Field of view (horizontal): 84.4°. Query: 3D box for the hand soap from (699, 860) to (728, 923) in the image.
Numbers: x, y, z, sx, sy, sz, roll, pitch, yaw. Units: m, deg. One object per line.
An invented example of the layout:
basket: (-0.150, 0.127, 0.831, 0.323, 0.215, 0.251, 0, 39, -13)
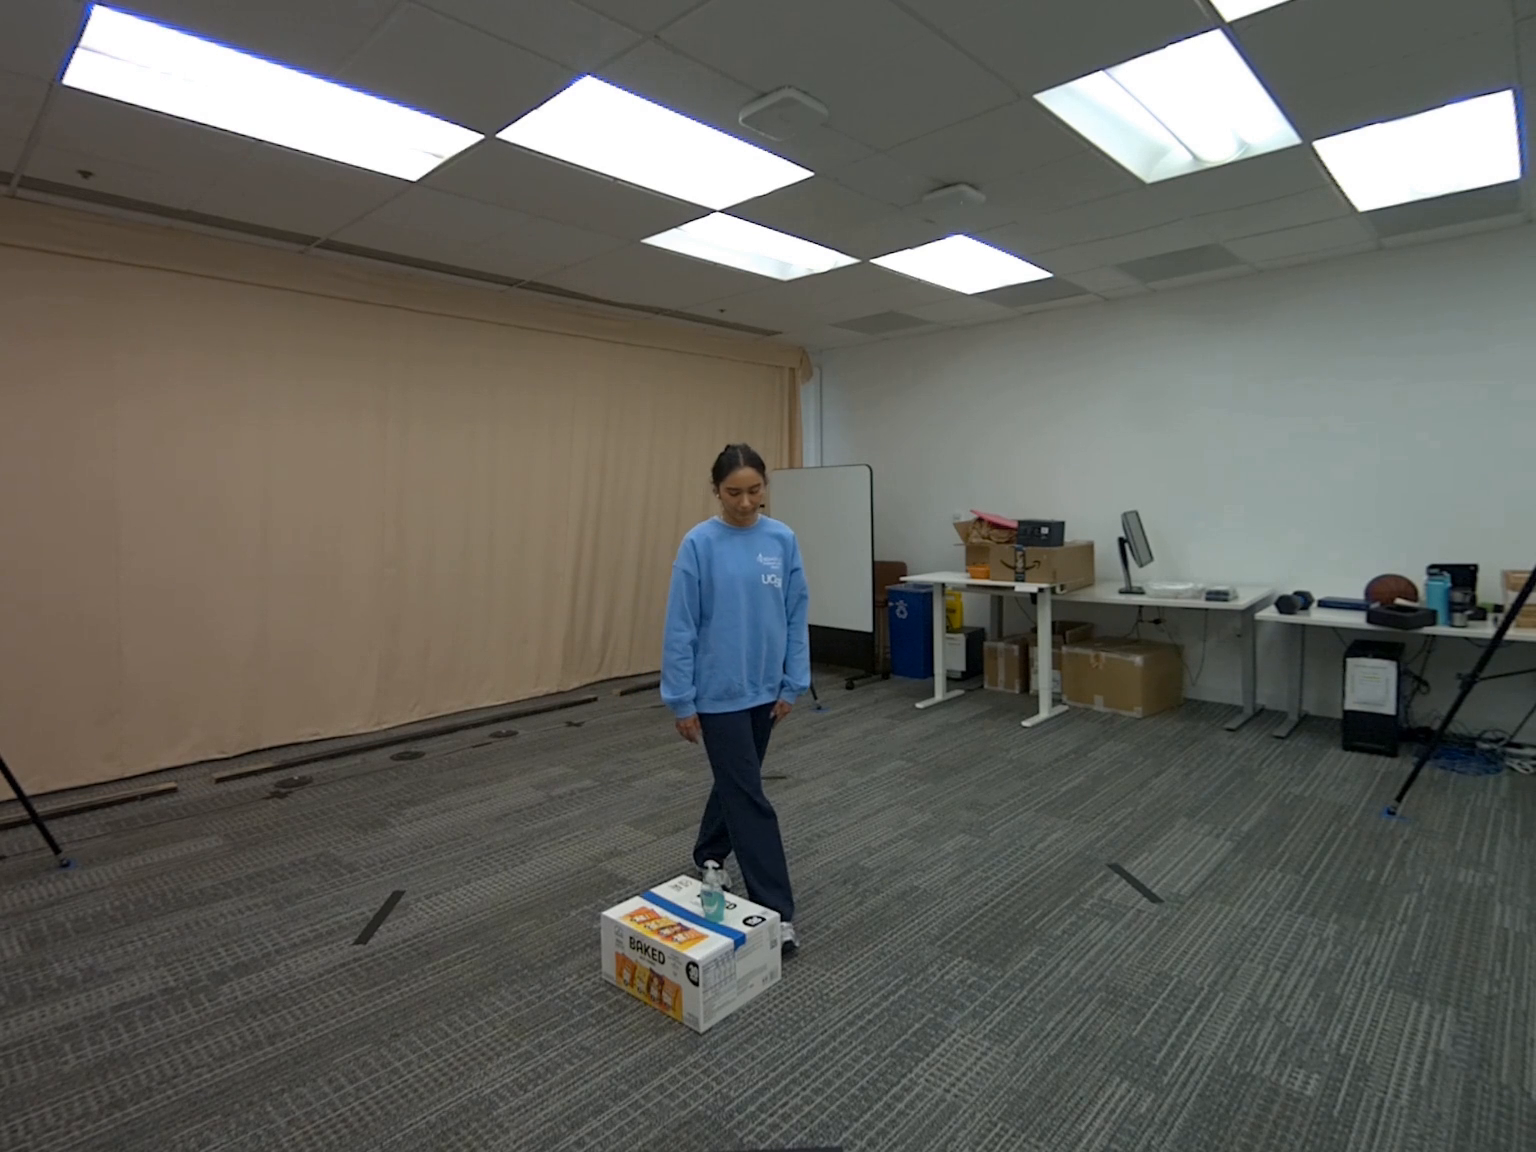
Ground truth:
hand soap: (-0.152, 0.902, 2.439, 0.087, 0.168, 0.042, -1, 4, 42)
